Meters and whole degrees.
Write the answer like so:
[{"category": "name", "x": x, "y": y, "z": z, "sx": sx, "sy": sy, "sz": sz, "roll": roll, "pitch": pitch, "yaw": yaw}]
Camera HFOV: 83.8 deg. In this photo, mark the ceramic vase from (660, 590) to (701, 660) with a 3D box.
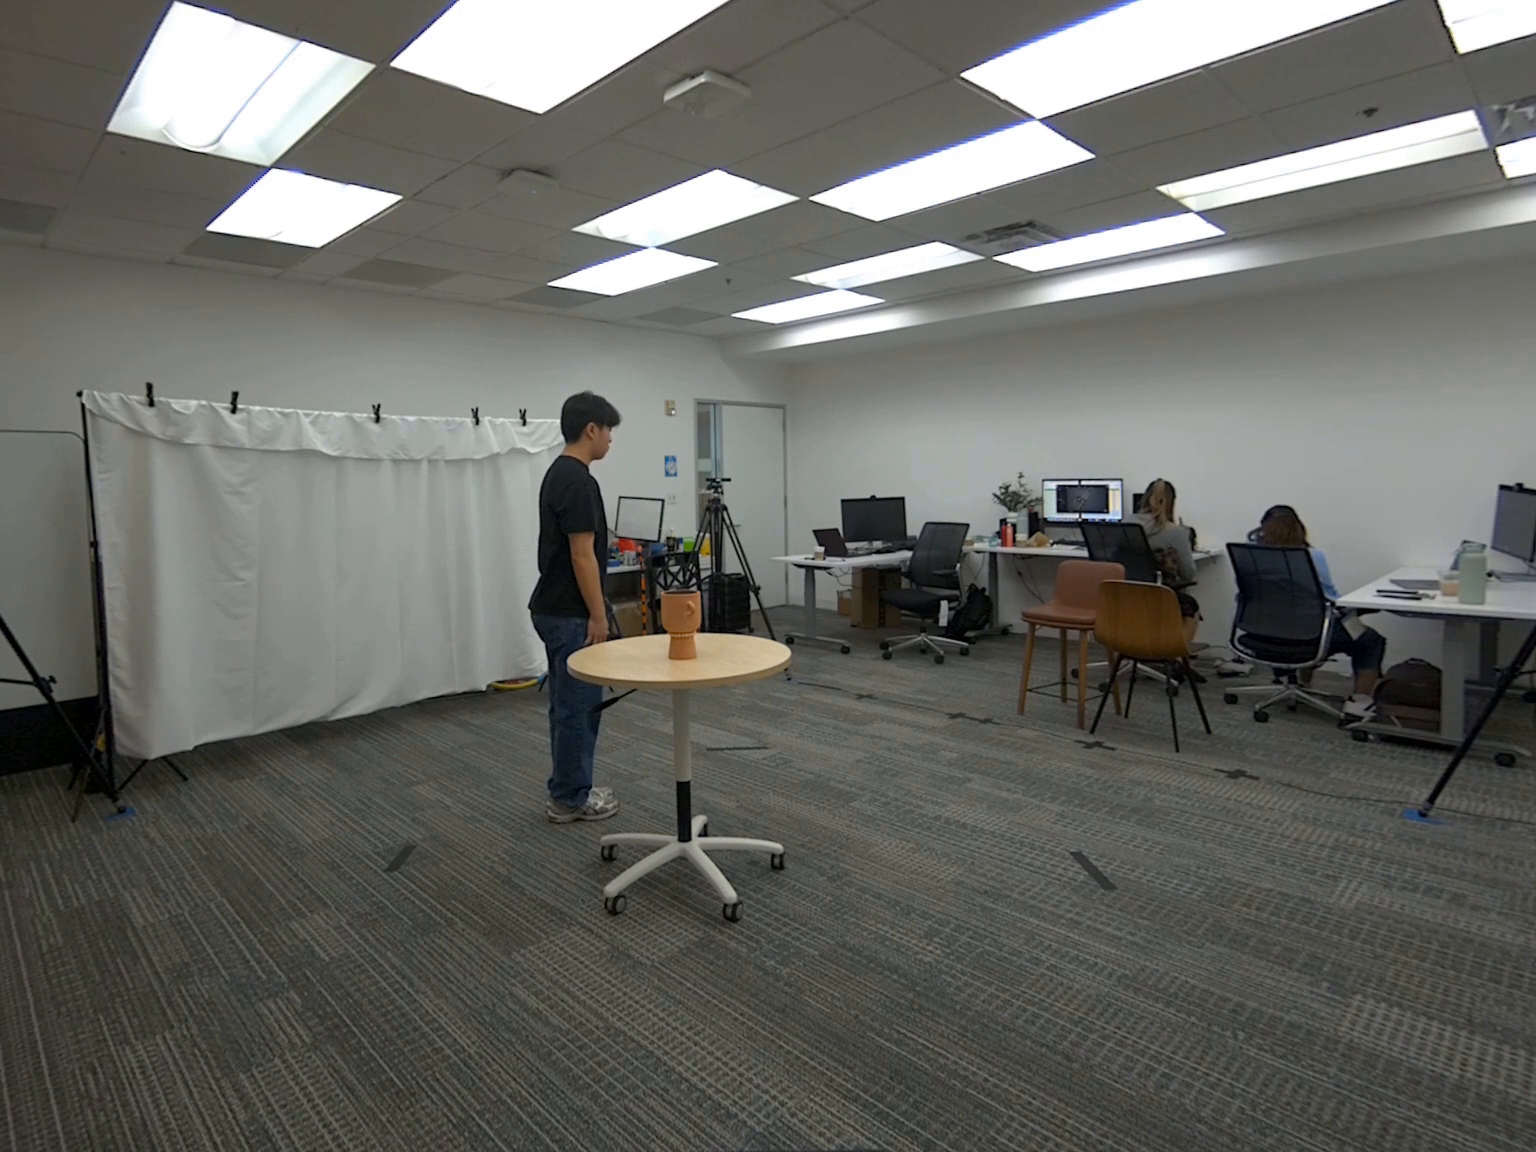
[{"category": "ceramic vase", "x": -0.286, "y": 0.167, "z": 2.883, "sx": 0.136, "sy": 0.219, "sz": 0.158, "roll": 0, "pitch": 5, "yaw": 10}]
